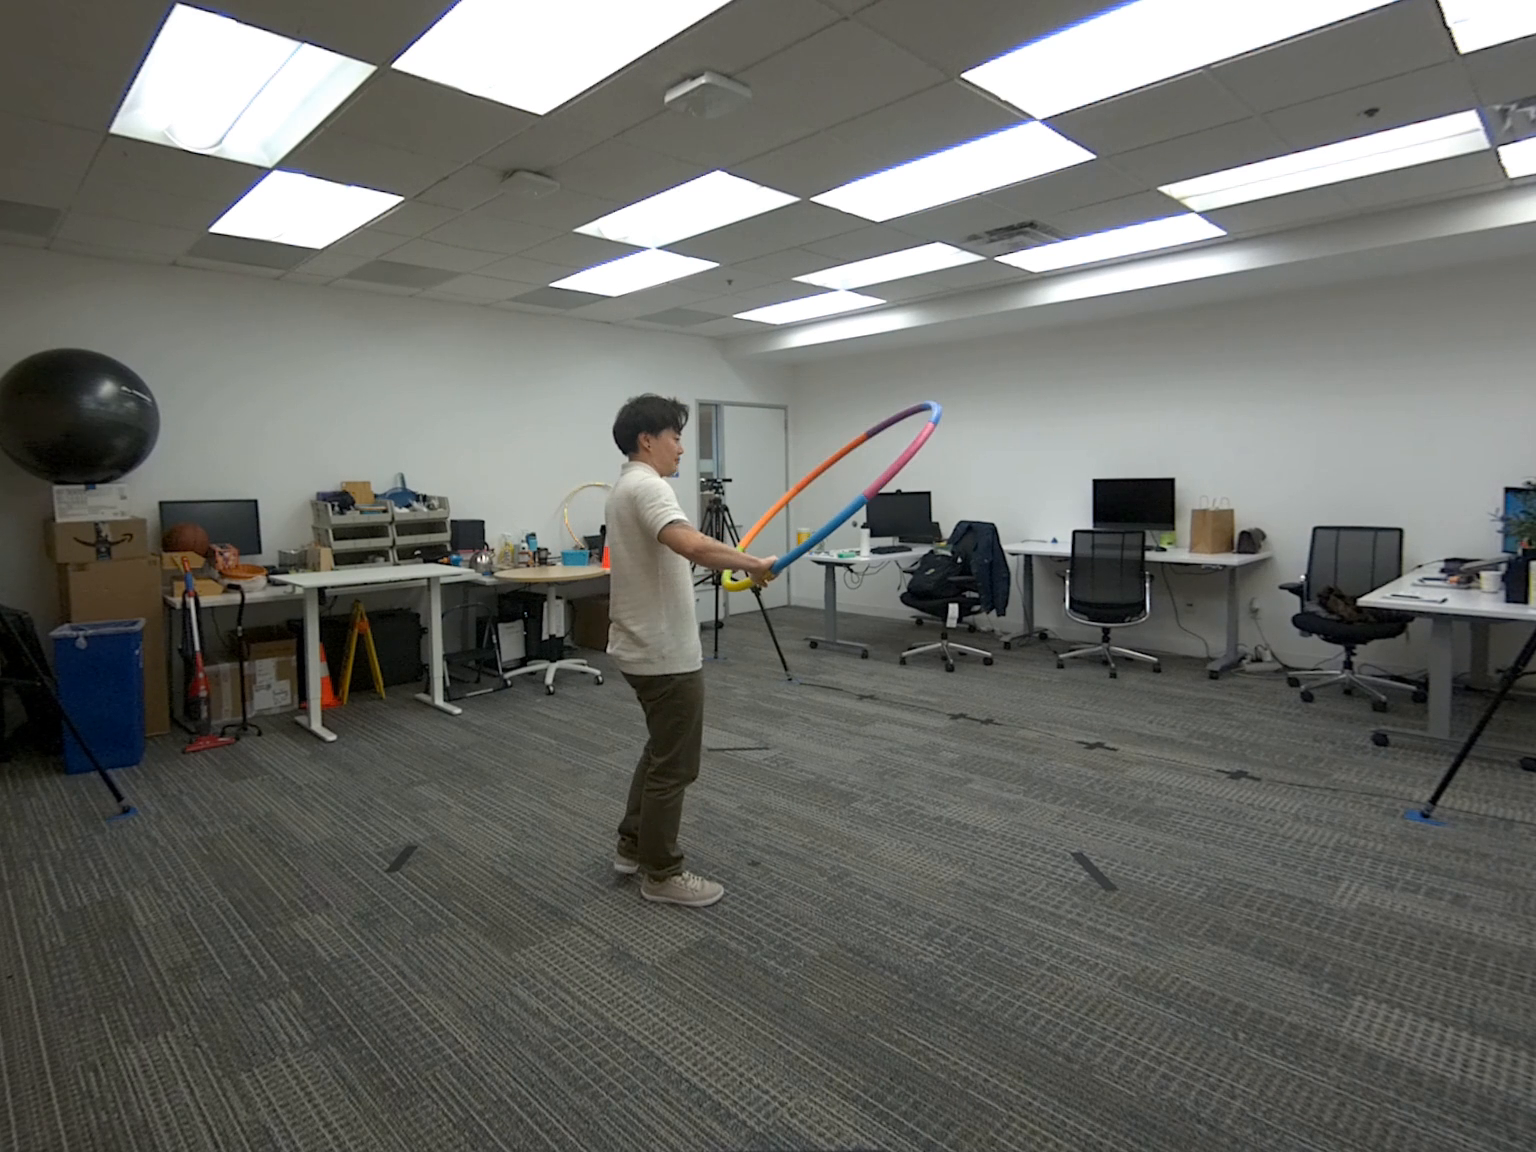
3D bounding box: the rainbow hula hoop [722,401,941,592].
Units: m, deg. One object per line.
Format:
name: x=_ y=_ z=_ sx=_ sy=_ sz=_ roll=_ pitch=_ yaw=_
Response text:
rainbow hula hoop: x=0.188 y=-0.289 z=3.011 sx=0.979 sy=0.035 sz=0.990 roll=-40 pitch=12 yaw=6
